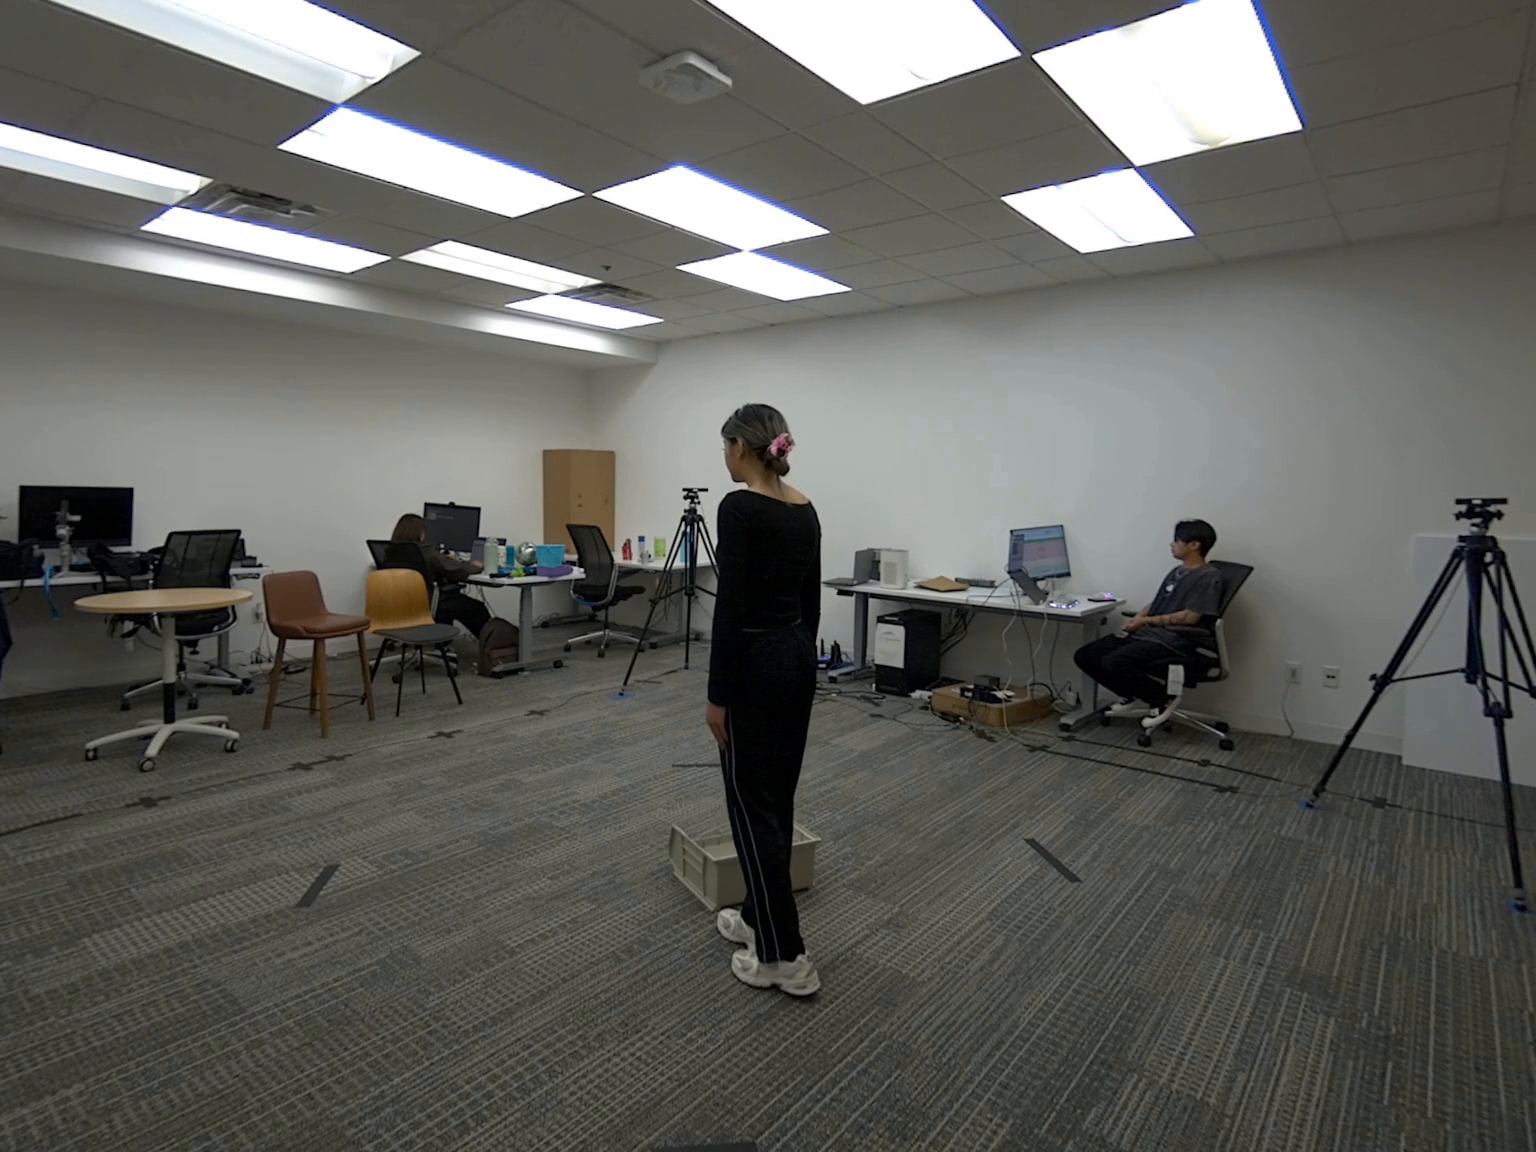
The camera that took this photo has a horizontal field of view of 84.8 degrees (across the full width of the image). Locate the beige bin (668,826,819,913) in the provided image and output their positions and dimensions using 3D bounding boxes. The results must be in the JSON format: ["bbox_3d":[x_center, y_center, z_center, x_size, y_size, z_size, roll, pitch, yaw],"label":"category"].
[{"bbox_3d":[-0.102,0.990,3.034,0.411,0.188,0.389,-1,6,-29],"label":"beige bin"}]
